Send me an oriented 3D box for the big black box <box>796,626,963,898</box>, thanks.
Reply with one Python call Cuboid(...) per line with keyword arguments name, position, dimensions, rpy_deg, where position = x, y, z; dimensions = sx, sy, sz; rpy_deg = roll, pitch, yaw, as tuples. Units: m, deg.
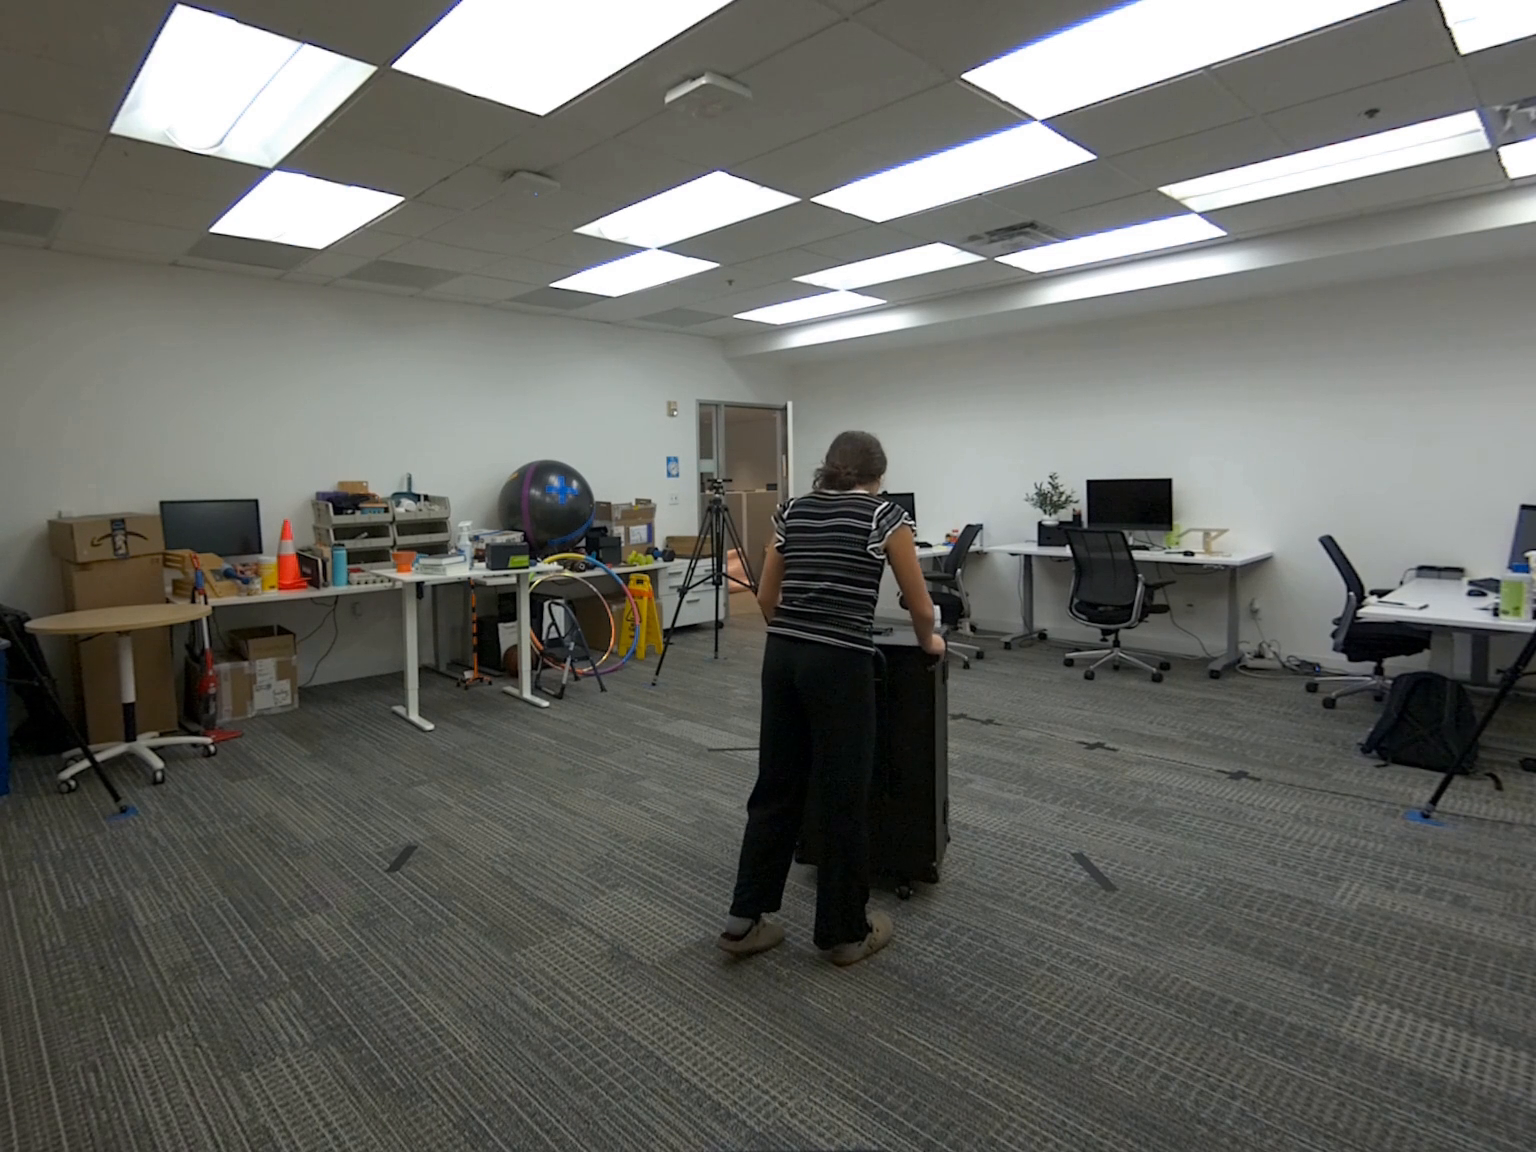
Cuboid(name="big black box", position=(0.374, 0.624, 2.993), dimensions=(0.531, 0.858, 0.390), rpy_deg=(1, 5, 20))
